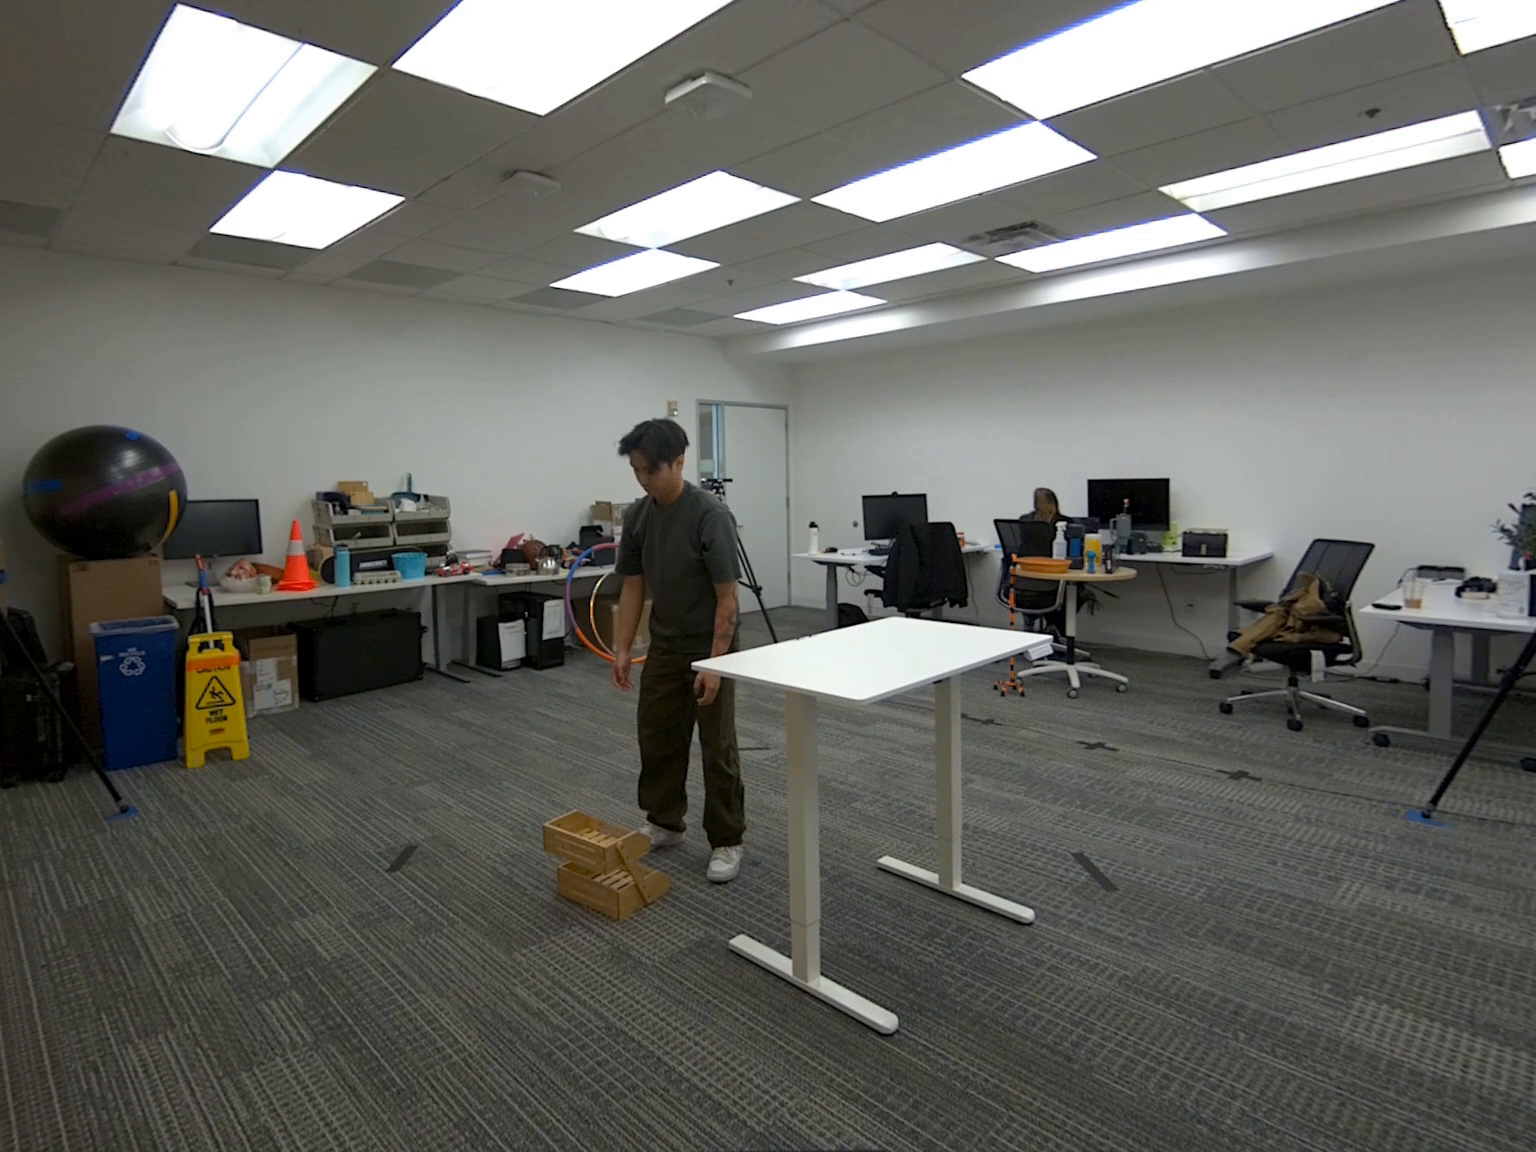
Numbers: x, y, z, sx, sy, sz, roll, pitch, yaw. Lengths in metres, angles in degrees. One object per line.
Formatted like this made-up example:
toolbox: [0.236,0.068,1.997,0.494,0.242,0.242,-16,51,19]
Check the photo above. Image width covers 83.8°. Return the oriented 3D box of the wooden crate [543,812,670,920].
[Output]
wooden crate: [-0.531,0.941,2.884,0.334,0.272,0.295,3,8,37]
